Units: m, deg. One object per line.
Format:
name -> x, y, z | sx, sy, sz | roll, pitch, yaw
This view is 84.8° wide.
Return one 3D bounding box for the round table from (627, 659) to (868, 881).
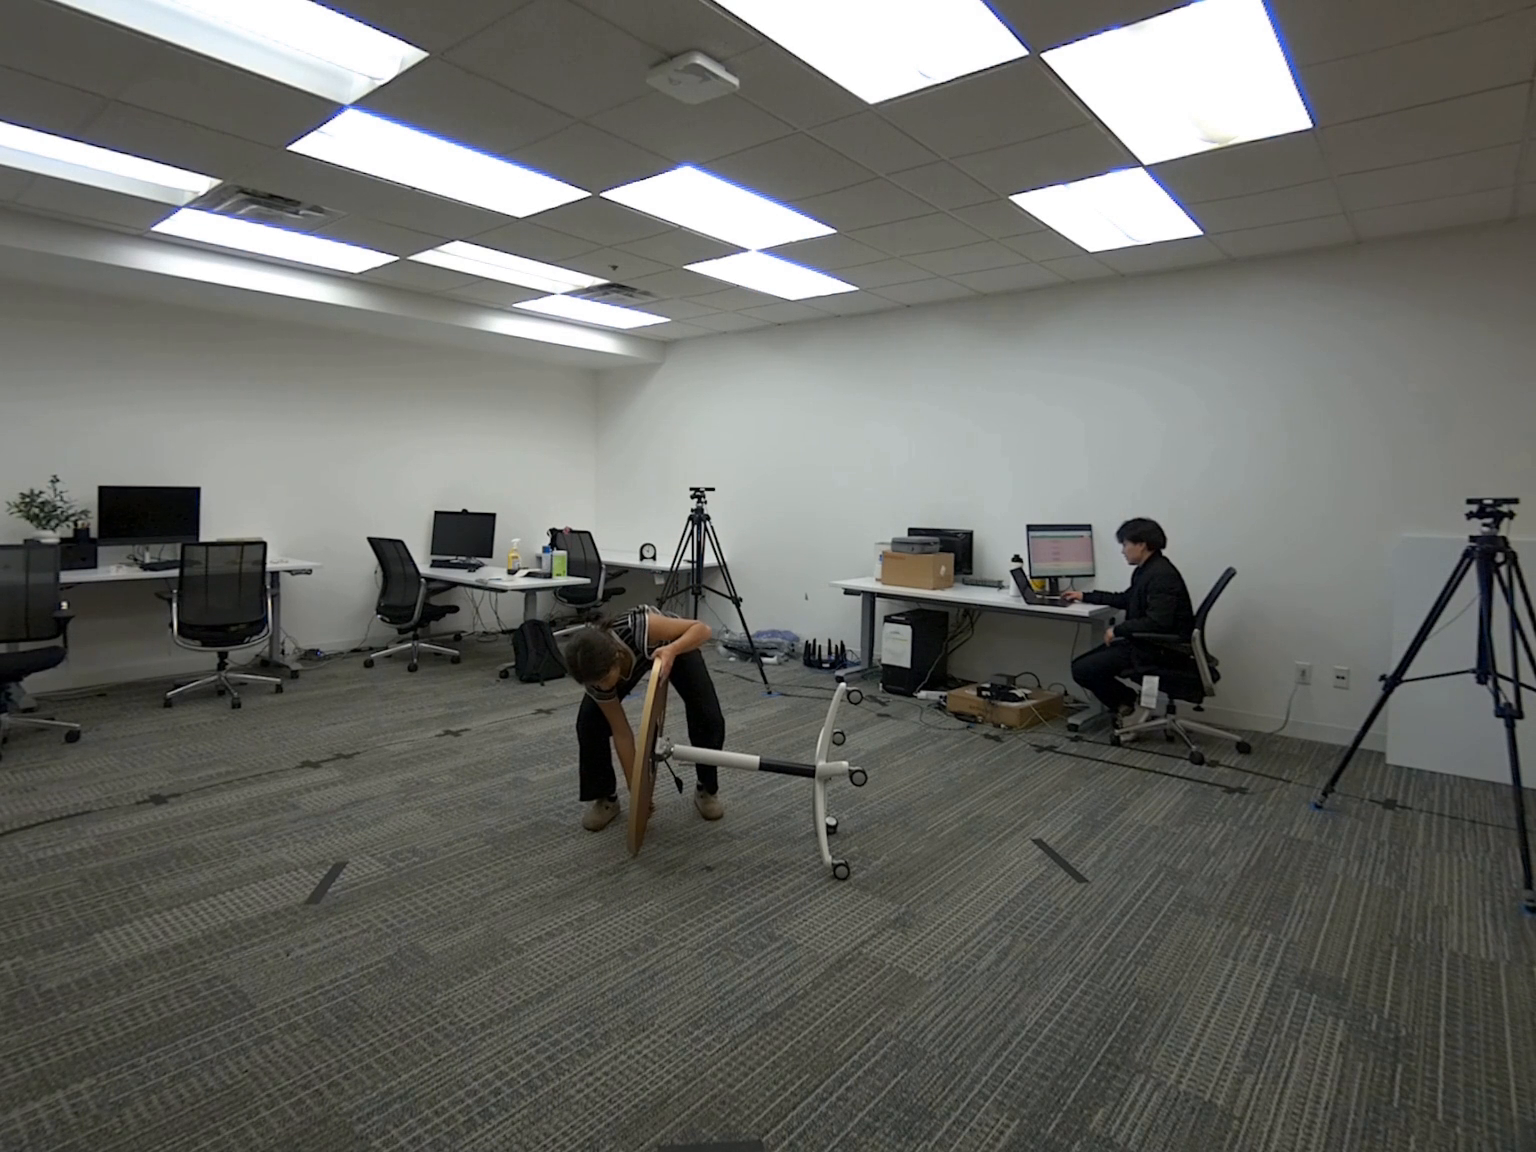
round table -> -0.076, 0.718, 3.277 | 0.788, 0.783, 0.786 | 8, 4, 1
